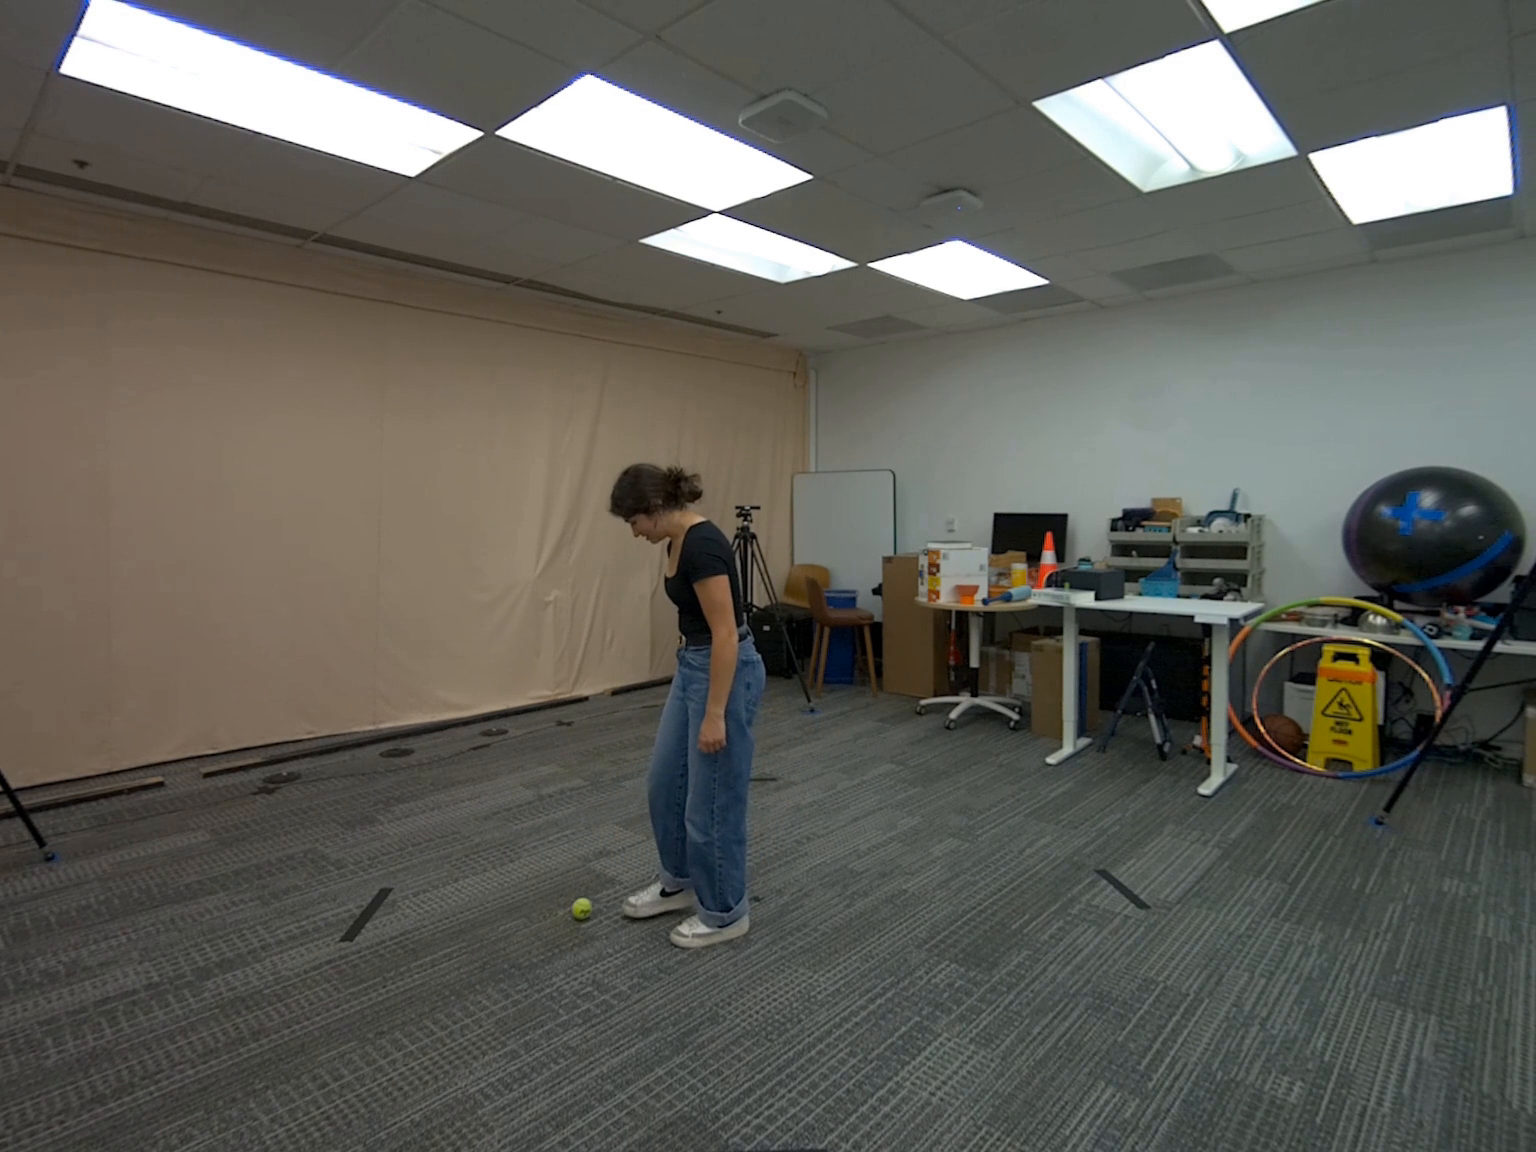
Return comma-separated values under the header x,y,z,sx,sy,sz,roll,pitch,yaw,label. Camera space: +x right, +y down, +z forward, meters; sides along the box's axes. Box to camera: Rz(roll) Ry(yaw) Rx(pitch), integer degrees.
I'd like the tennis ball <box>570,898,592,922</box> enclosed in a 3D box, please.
x,y,z,sx,sy,sz,roll,pitch,yaw,label
-0.628,1.123,2.853,0.066,0.066,0.067,0,4,-2,tennis ball
